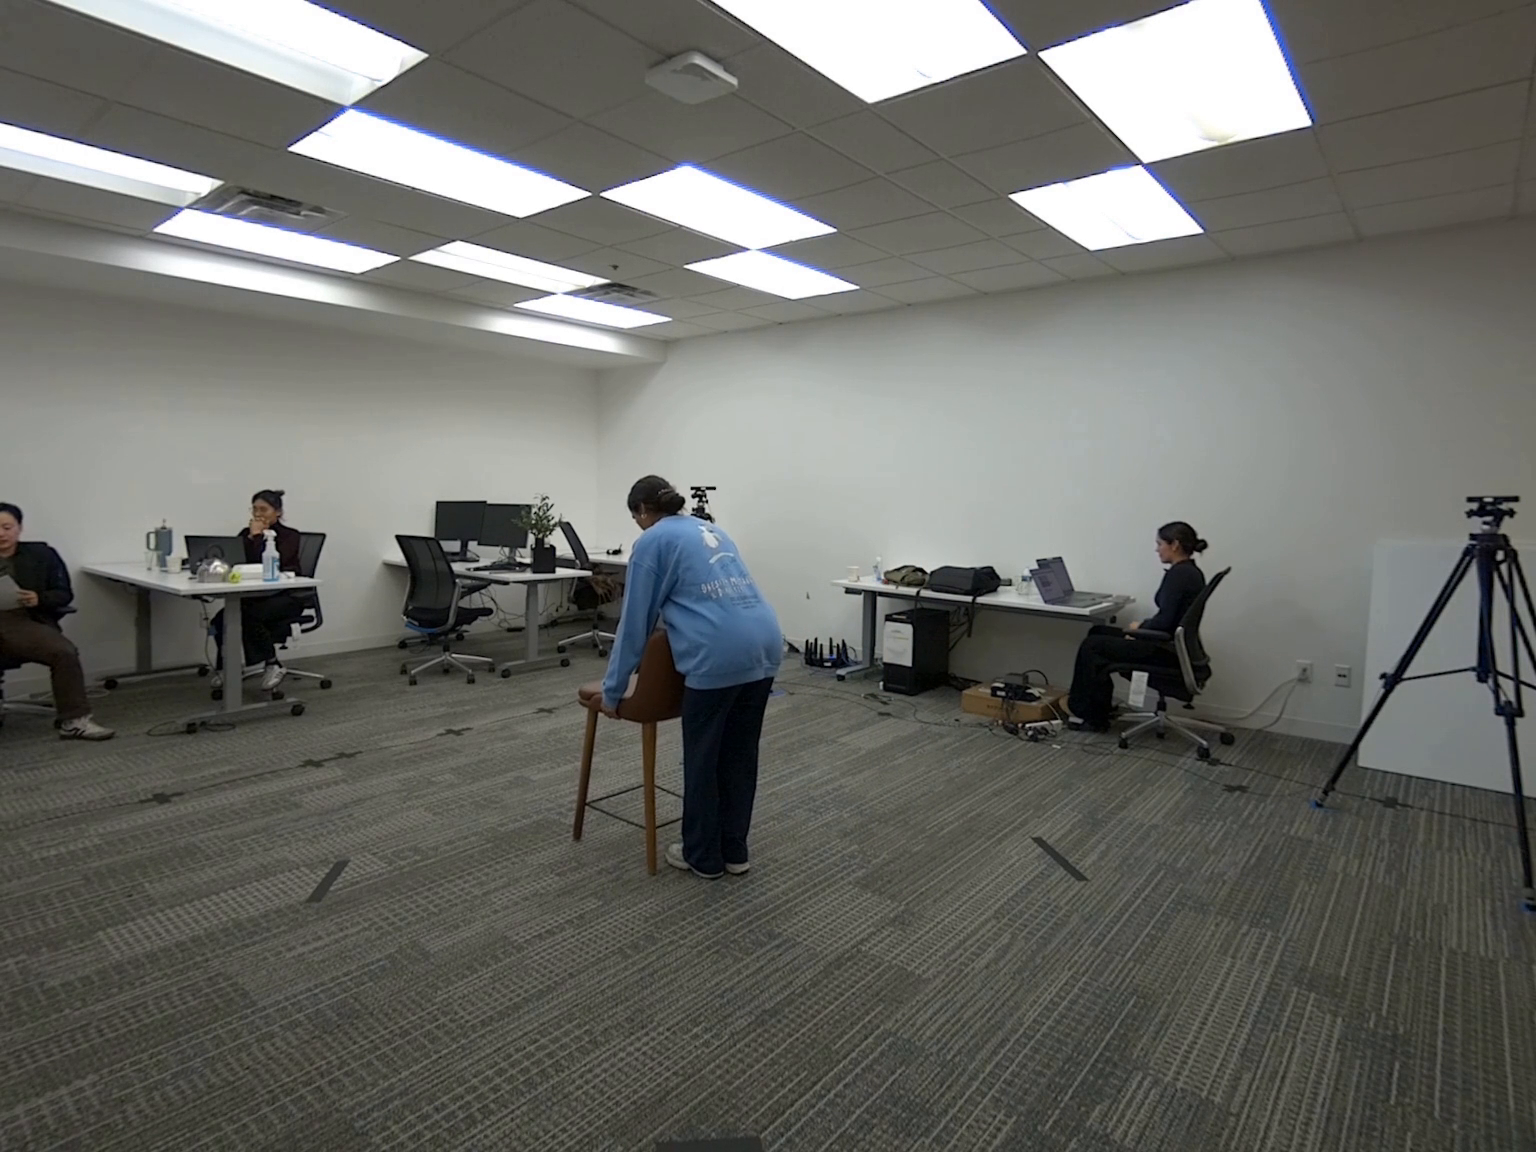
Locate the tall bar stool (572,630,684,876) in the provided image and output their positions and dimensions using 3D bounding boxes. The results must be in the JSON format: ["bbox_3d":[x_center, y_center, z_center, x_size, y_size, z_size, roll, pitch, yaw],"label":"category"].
[{"bbox_3d":[-0.466,0.600,3.302,0.484,0.887,0.442,6,5,41],"label":"tall bar stool"}]
